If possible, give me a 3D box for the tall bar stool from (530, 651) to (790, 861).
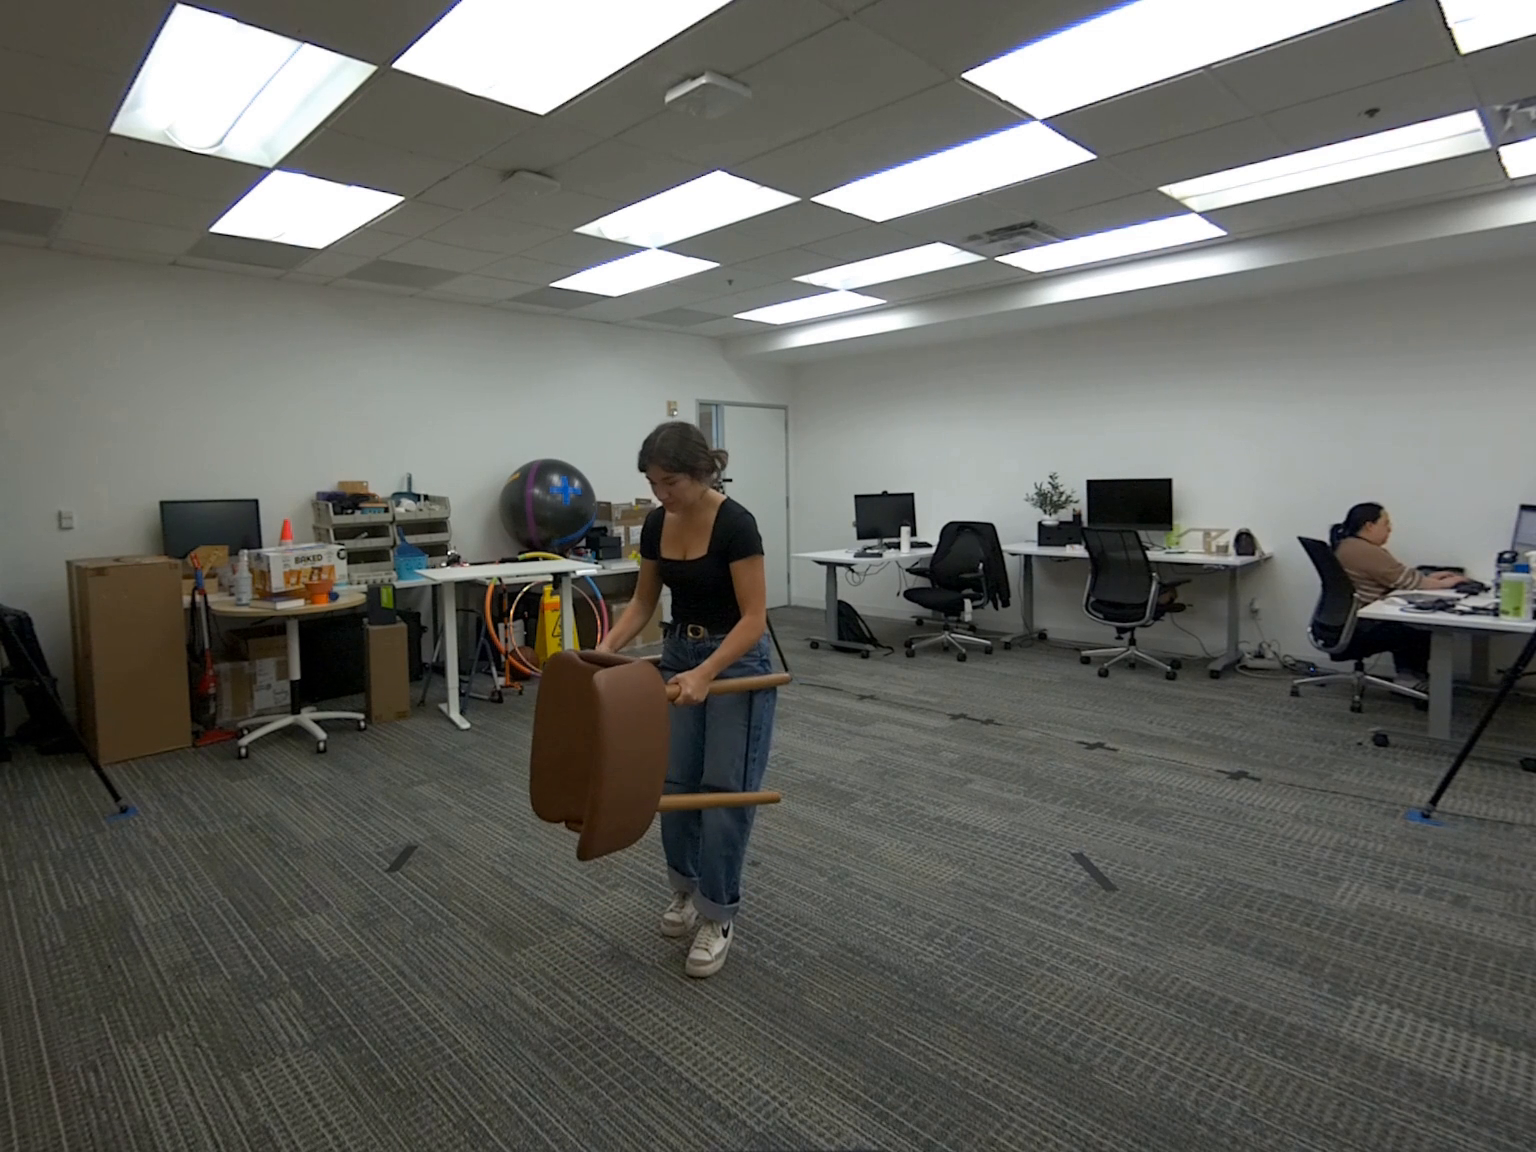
[{"bbox_3d":[-0.350,0.437,2.289,0.480,0.458,0.864,4,-2,29],"label":"tall bar stool"}]
